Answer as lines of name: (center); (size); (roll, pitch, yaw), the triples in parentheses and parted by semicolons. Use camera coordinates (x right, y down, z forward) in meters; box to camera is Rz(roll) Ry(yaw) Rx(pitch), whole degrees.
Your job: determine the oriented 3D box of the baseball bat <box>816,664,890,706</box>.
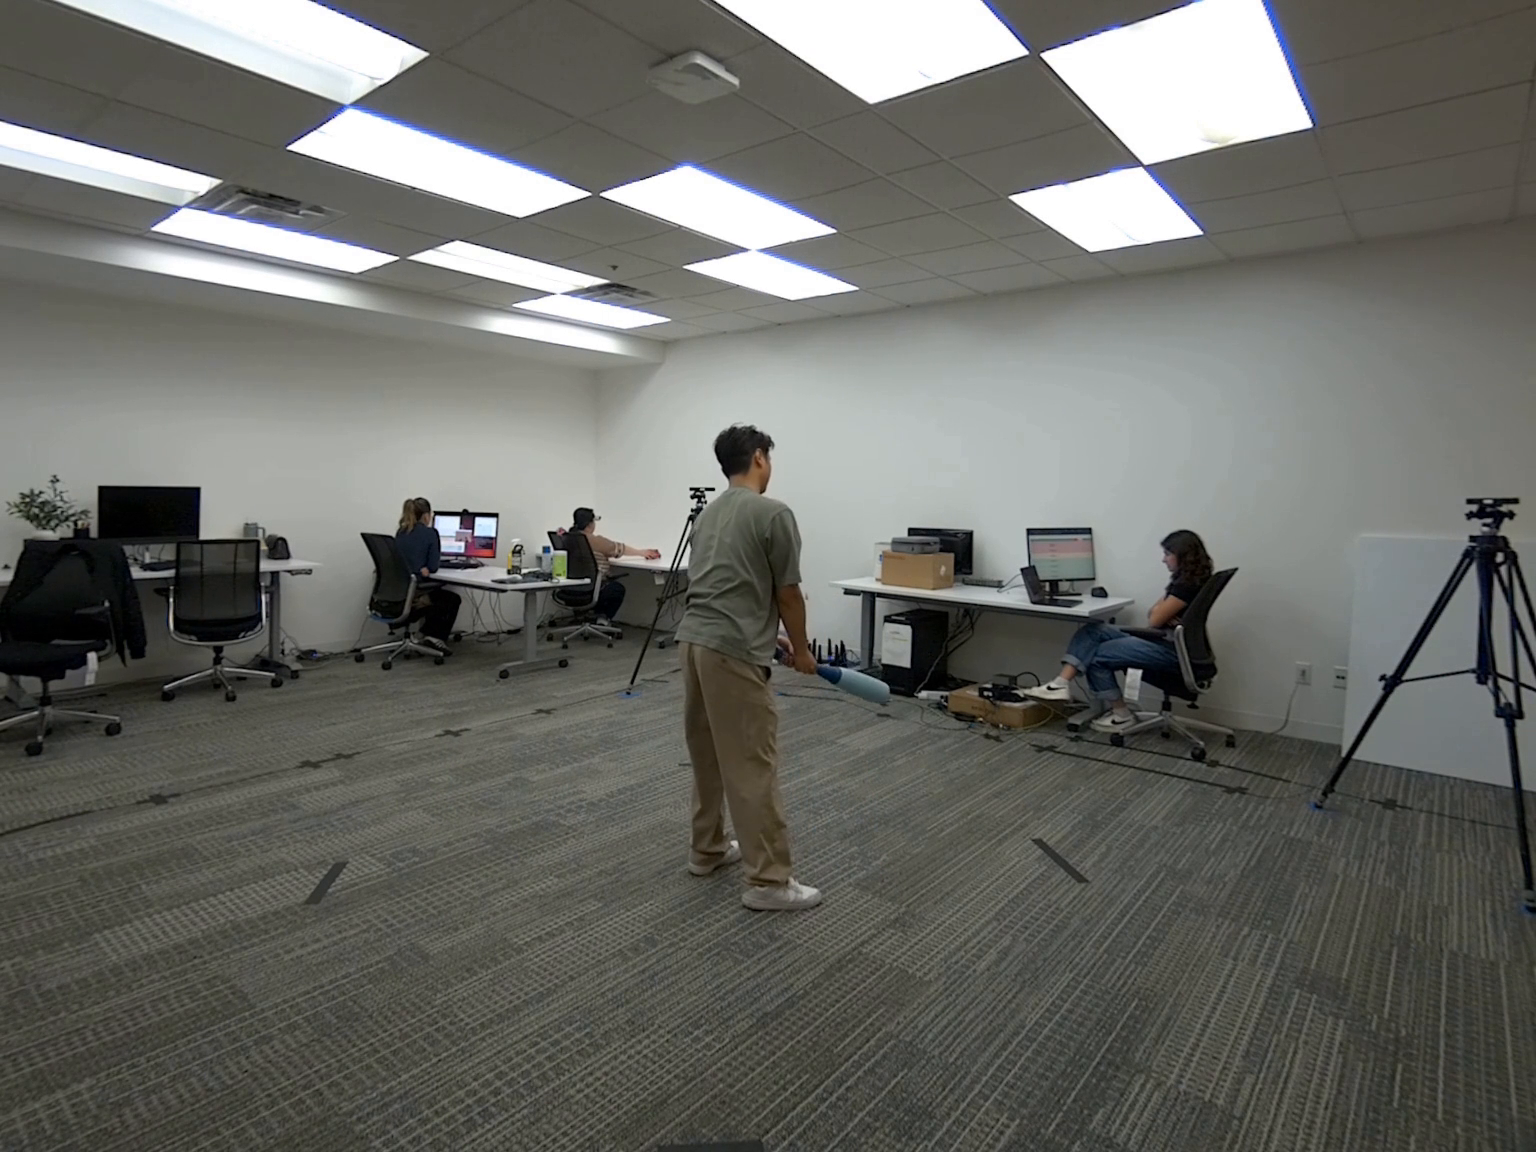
baseball bat: (0.230, 0.379, 3.201); (0.525, 0.089, 0.092); (22, -7, -28)
